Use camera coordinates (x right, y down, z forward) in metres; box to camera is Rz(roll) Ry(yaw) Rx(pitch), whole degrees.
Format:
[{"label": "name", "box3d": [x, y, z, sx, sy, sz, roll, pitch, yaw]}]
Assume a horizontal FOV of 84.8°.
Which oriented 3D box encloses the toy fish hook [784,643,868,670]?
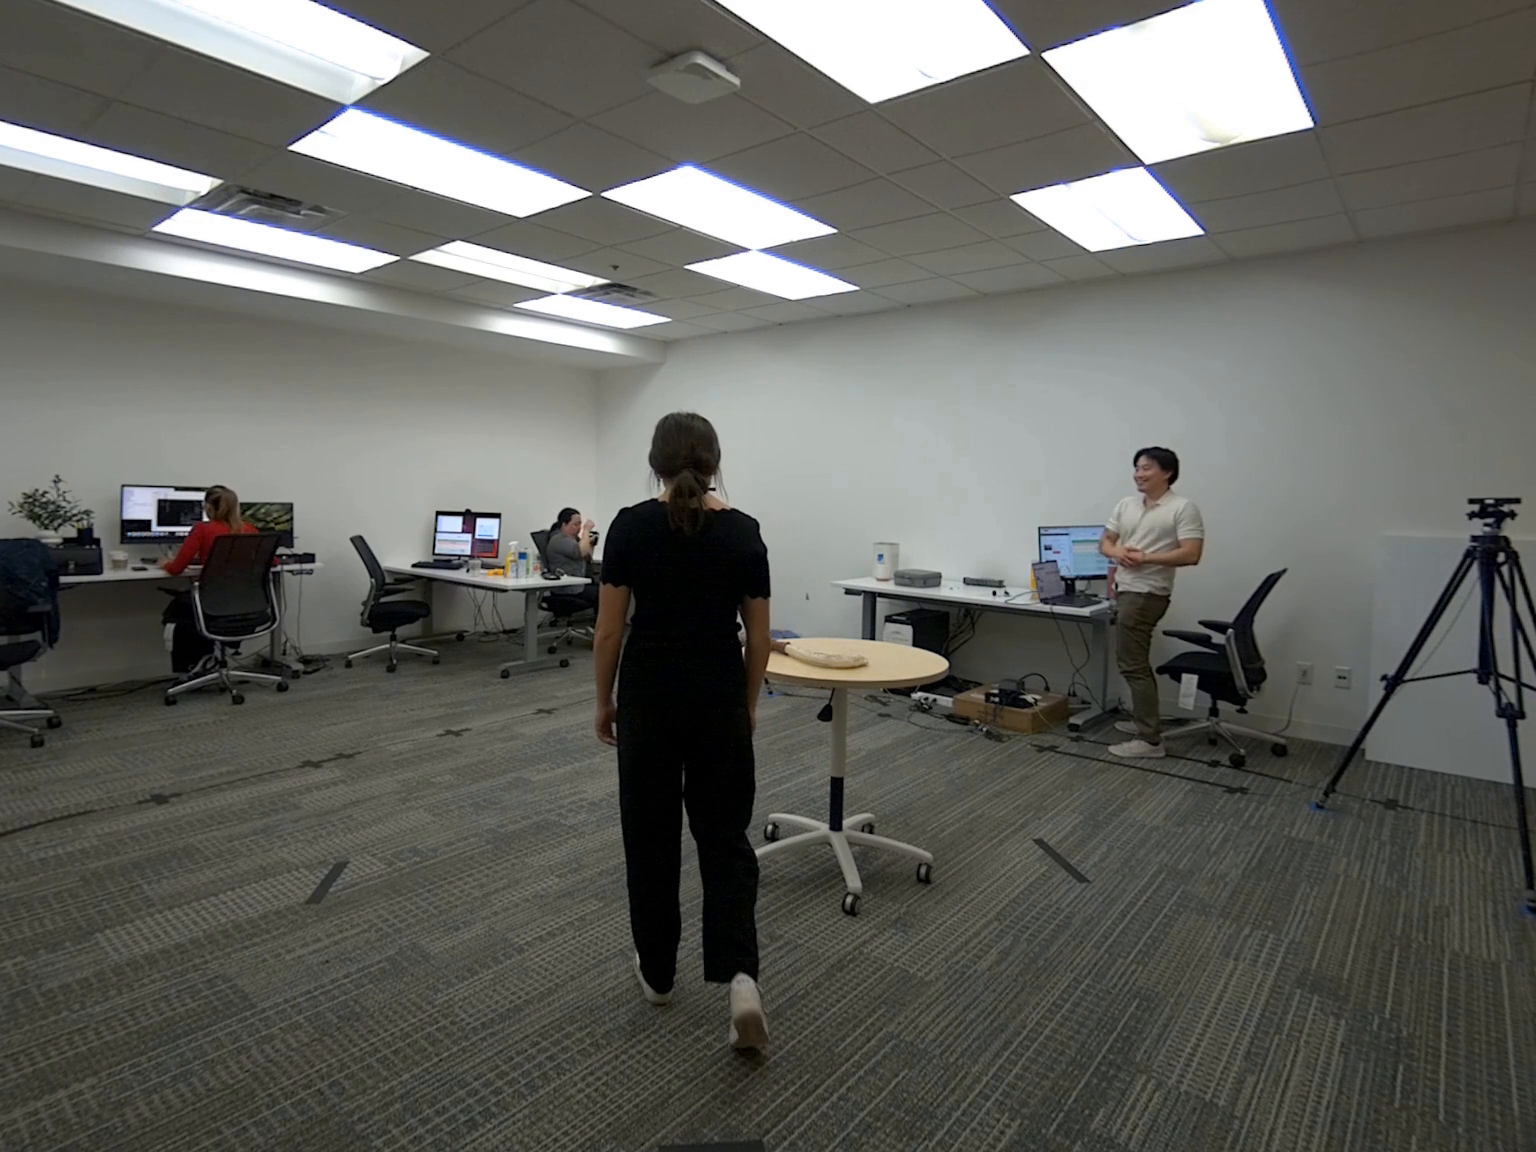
[{"label": "toy fish hook", "box3d": [0.134, 0.284, 3.115, 0.217, 0.048, 0.524, 8, 0, -42]}]
